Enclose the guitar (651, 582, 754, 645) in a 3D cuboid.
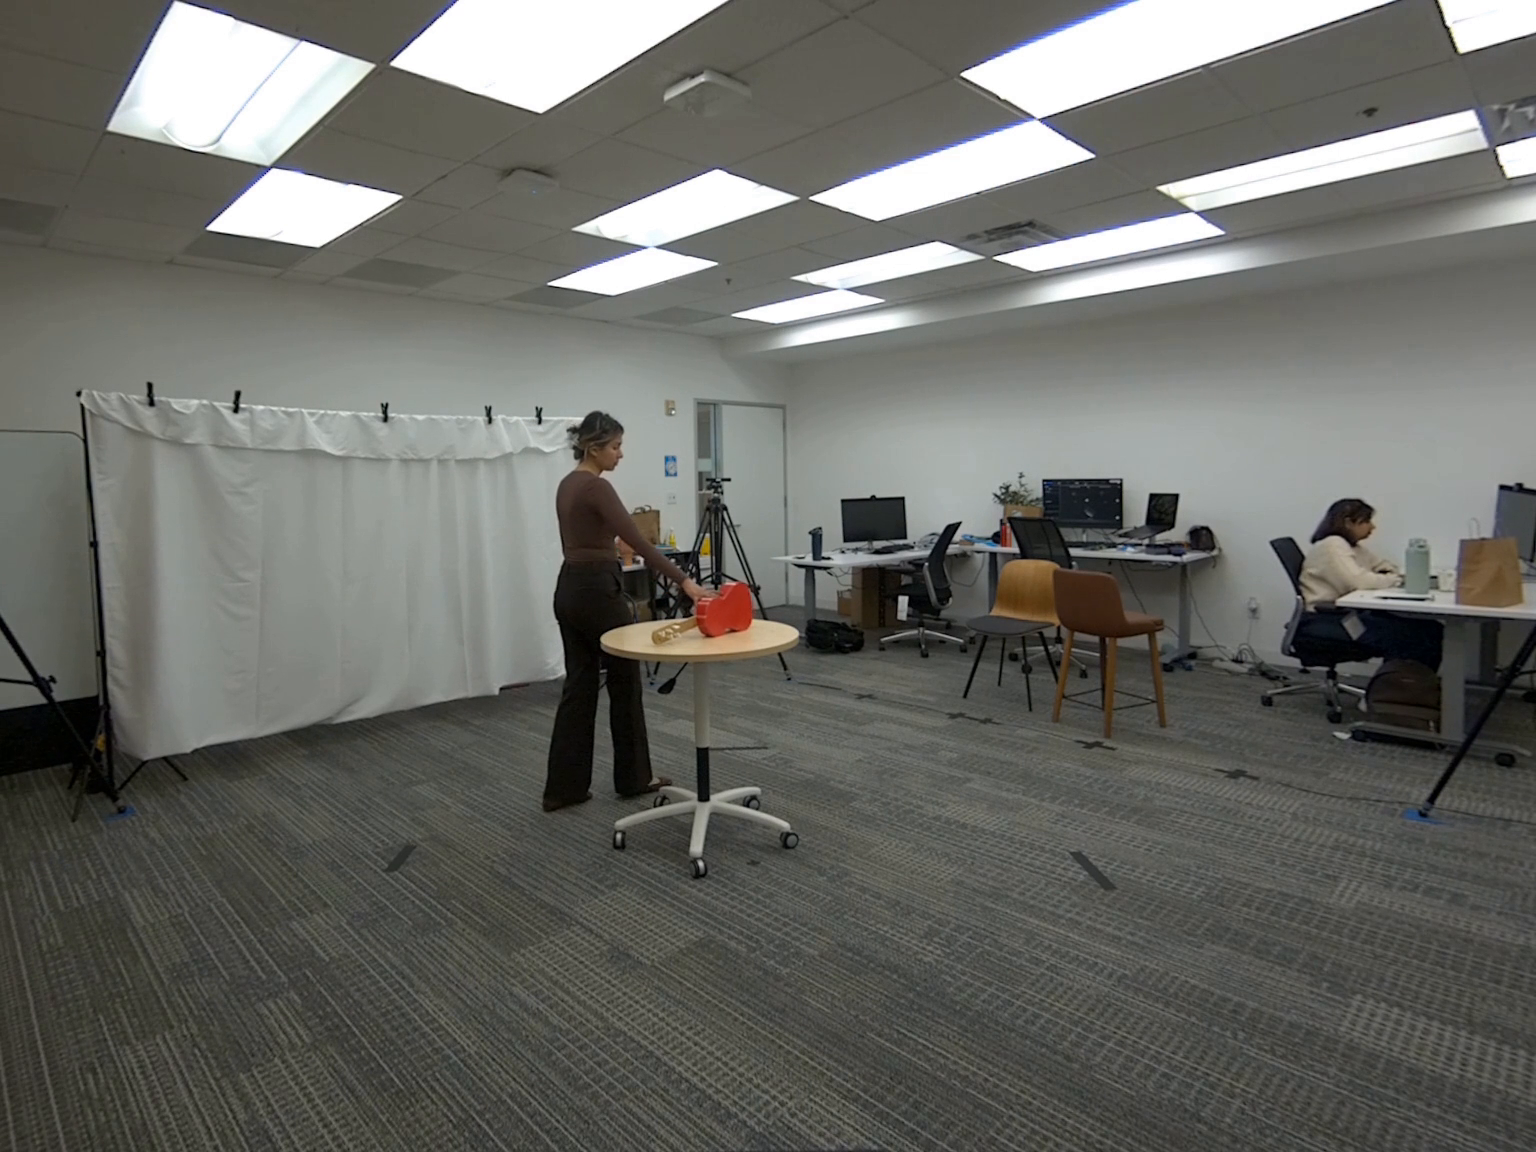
[{"bbox_3d":[-0.237,0.189,3.247,0.073,0.189,0.492,2,24,40],"label":"guitar"}]
